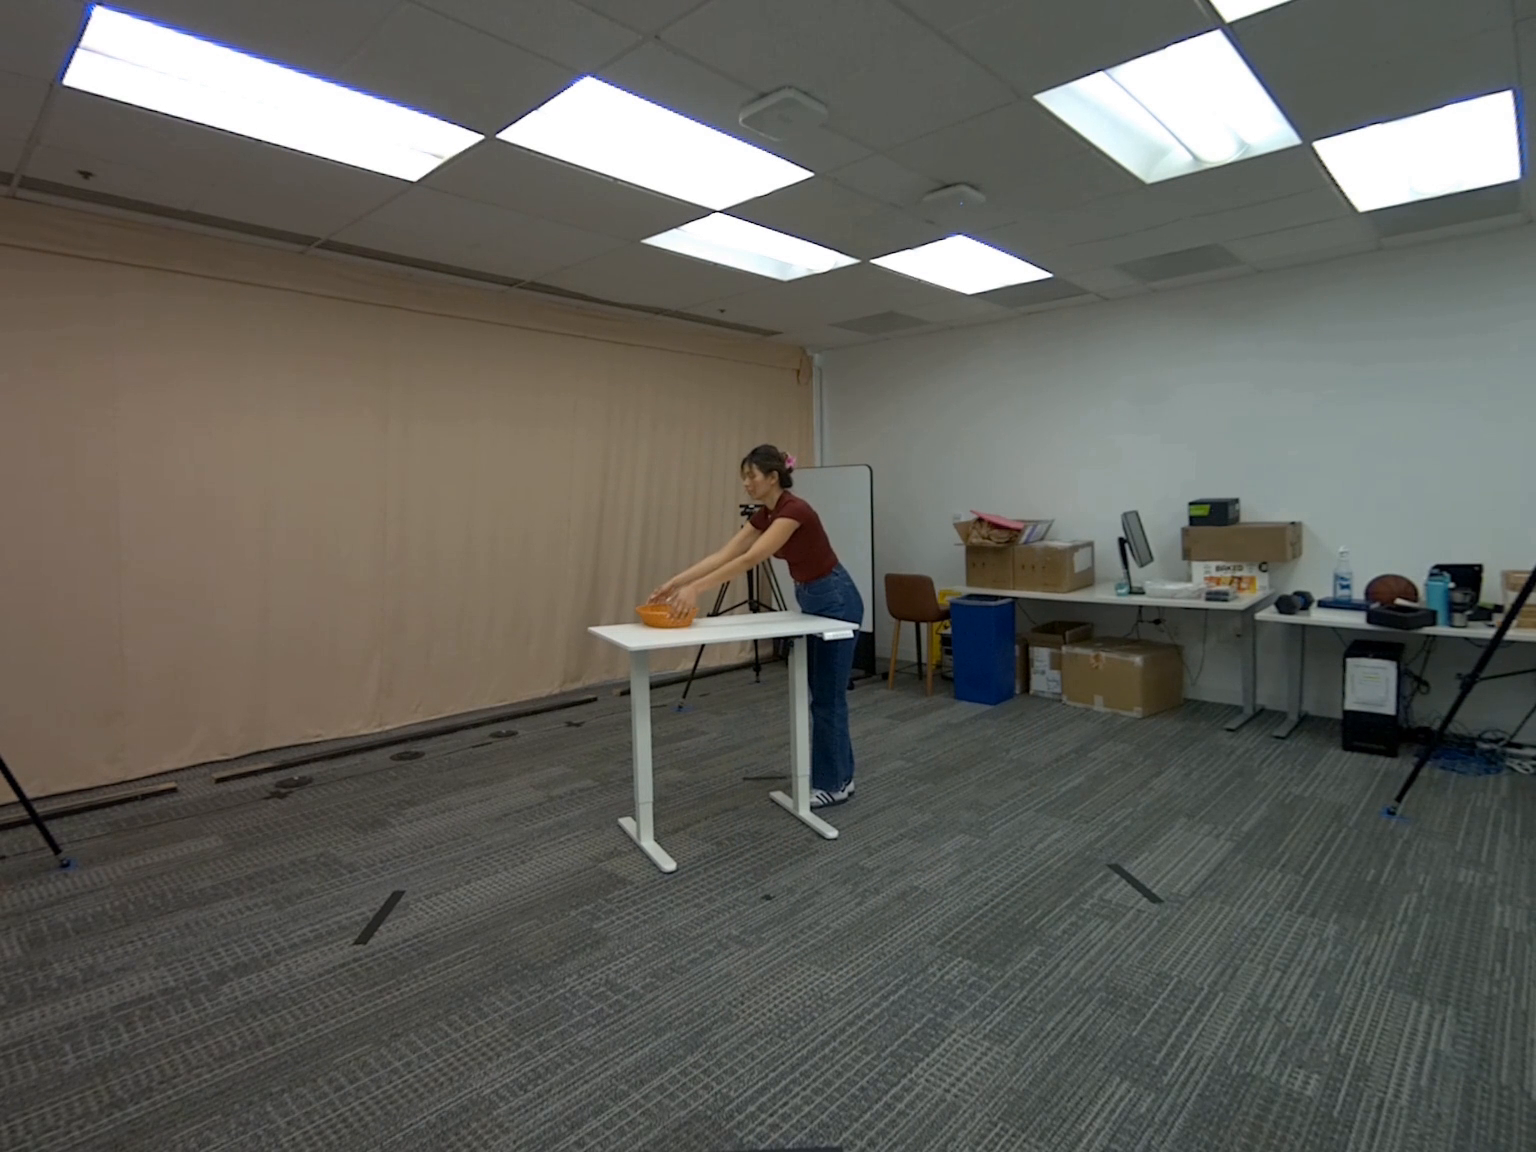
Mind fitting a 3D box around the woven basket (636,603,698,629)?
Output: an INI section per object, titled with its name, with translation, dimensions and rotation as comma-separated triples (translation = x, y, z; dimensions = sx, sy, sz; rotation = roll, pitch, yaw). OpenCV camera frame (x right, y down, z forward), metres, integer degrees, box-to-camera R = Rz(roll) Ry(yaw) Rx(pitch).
[woven basket]
translation = -0.455, 0.177, 3.690
dimensions = 0.247, 0.073, 0.358
rotation = -4, 5, -21
